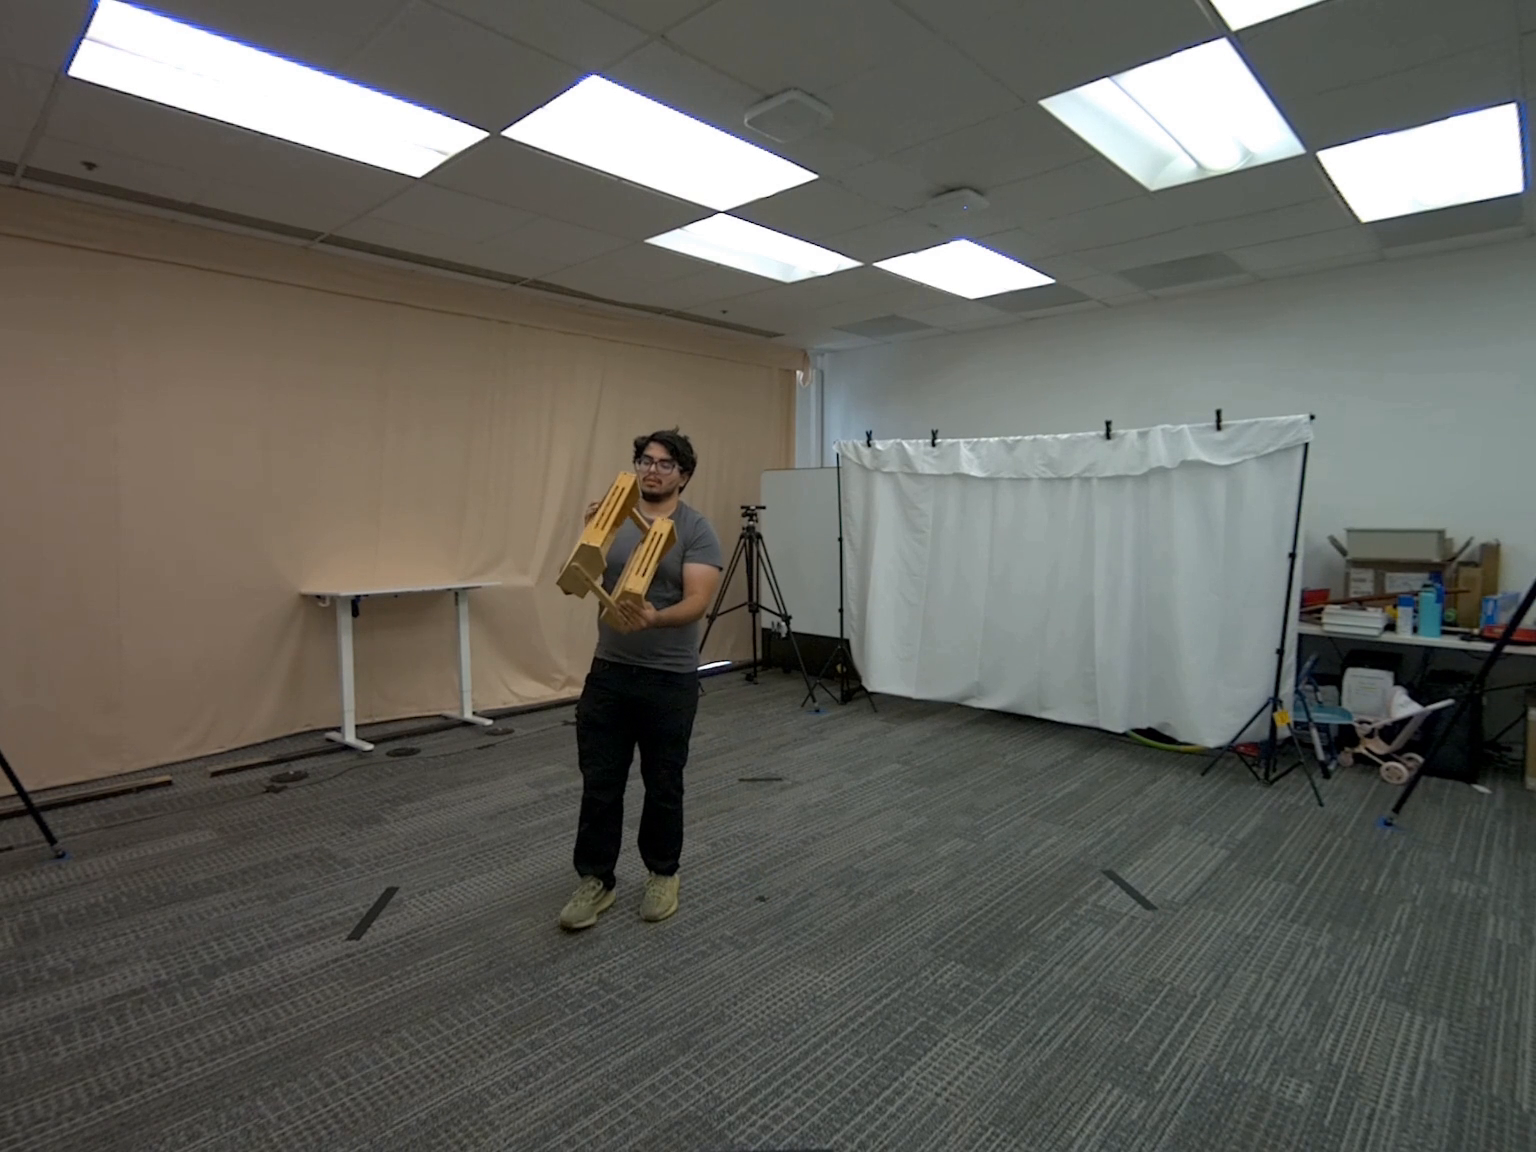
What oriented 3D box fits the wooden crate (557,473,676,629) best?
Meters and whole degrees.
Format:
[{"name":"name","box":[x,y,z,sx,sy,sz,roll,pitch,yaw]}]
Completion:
[{"name":"wooden crate","box":[-0.411,-0.068,2.477,0.269,0.326,0.305,31,-42,-13]}]
